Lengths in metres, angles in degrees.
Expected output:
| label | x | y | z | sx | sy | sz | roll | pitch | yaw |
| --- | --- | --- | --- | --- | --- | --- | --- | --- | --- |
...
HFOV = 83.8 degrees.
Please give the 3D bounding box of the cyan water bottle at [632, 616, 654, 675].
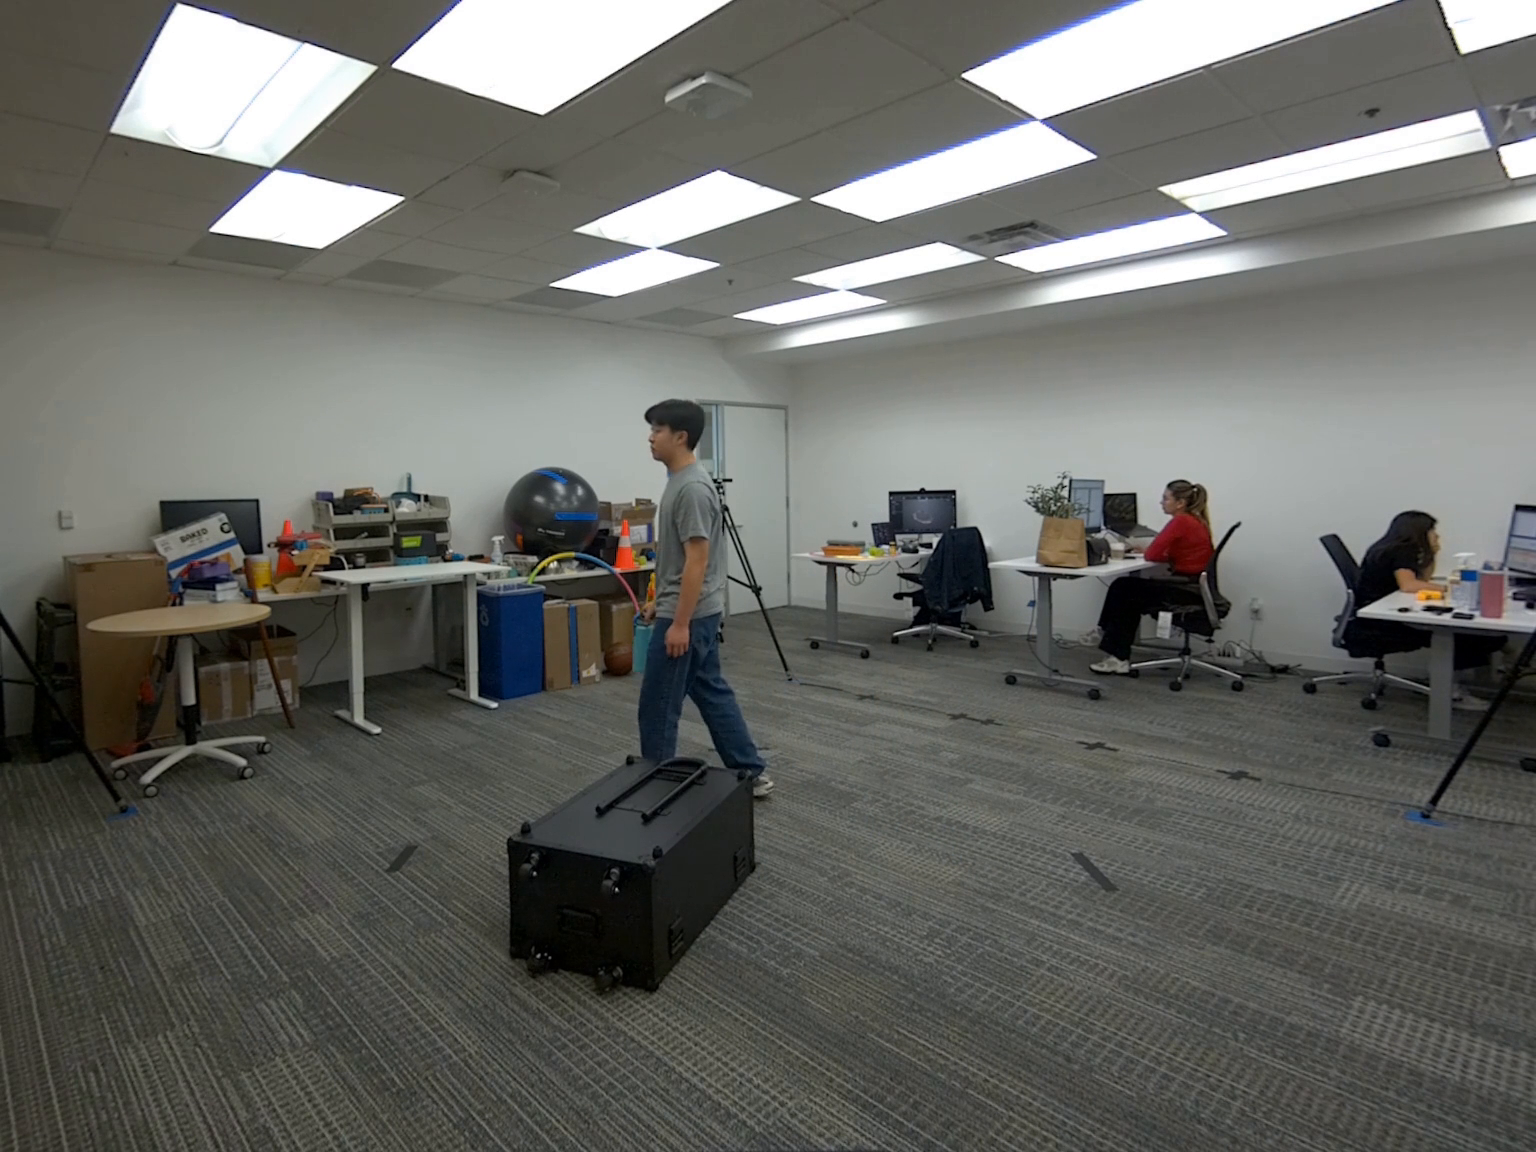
| label | x | y | z | sx | sy | sz | roll | pitch | yaw |
| --- | --- | --- | --- | --- | --- | --- | --- | --- | --- |
| cyan water bottle | -0.567 | 0.298 | 3.887 | 0.092 | 0.281 | 0.093 | 2 | 10 | -2 |
